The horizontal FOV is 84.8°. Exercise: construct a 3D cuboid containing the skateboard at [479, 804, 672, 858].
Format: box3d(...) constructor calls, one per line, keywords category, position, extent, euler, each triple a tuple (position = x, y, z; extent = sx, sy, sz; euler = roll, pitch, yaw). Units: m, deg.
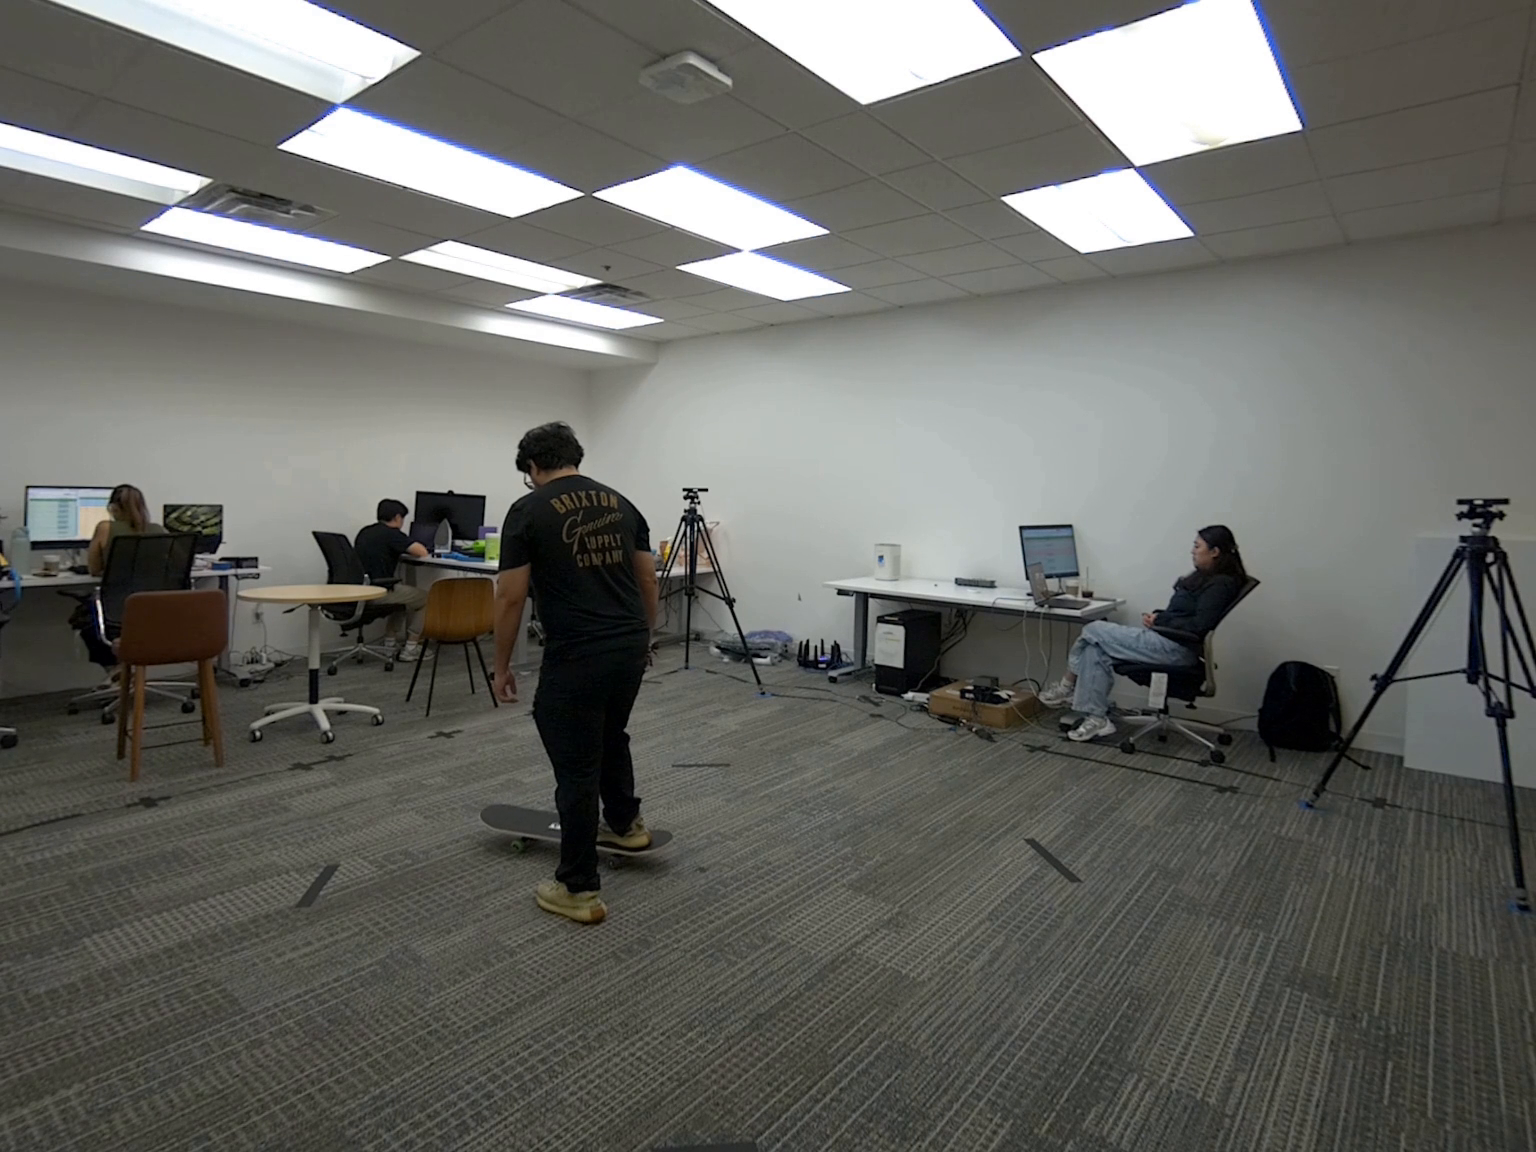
box3d(category="skateboard", position=(-0.750, 0.992, 3.234), extent=(0.800, 0.109, 0.191), euler=(4, 10, 16))
